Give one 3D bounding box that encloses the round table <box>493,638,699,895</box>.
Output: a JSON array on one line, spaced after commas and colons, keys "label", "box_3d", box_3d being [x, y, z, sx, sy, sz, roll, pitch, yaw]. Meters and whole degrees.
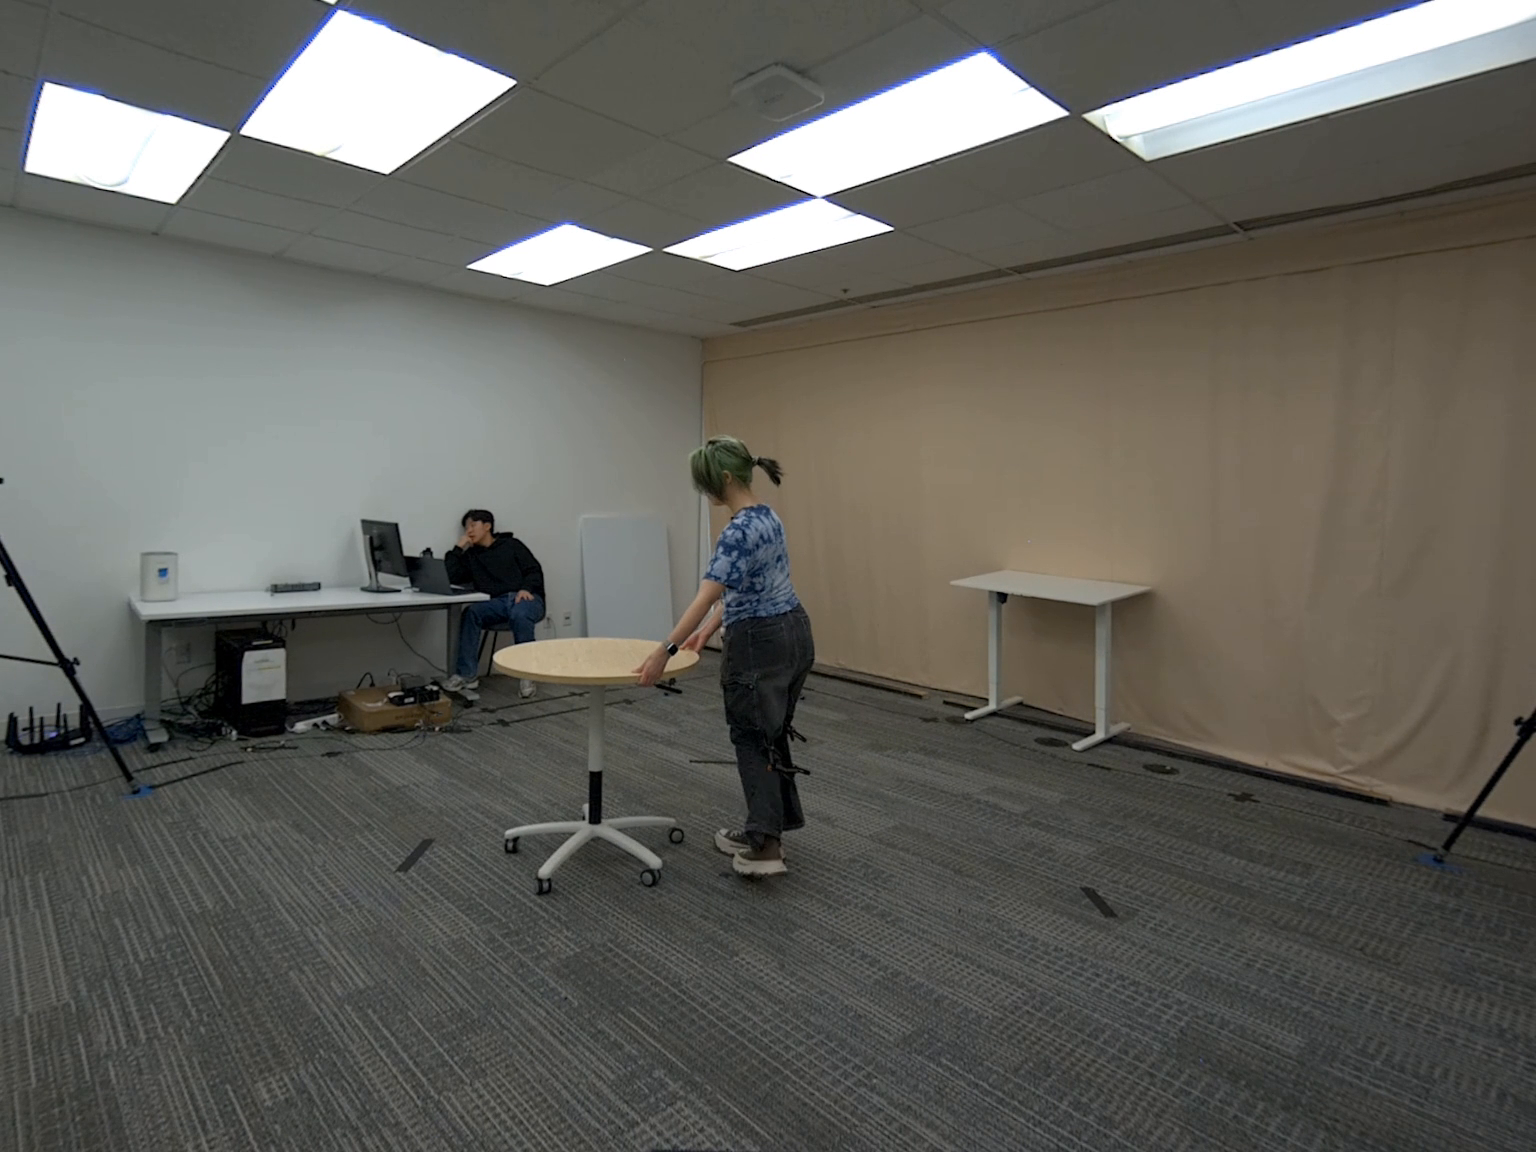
[{"label": "round table", "box_3d": [-0.657, 0.695, 3.201, 0.763, 0.792, 0.766, 1, 4, -1]}]
